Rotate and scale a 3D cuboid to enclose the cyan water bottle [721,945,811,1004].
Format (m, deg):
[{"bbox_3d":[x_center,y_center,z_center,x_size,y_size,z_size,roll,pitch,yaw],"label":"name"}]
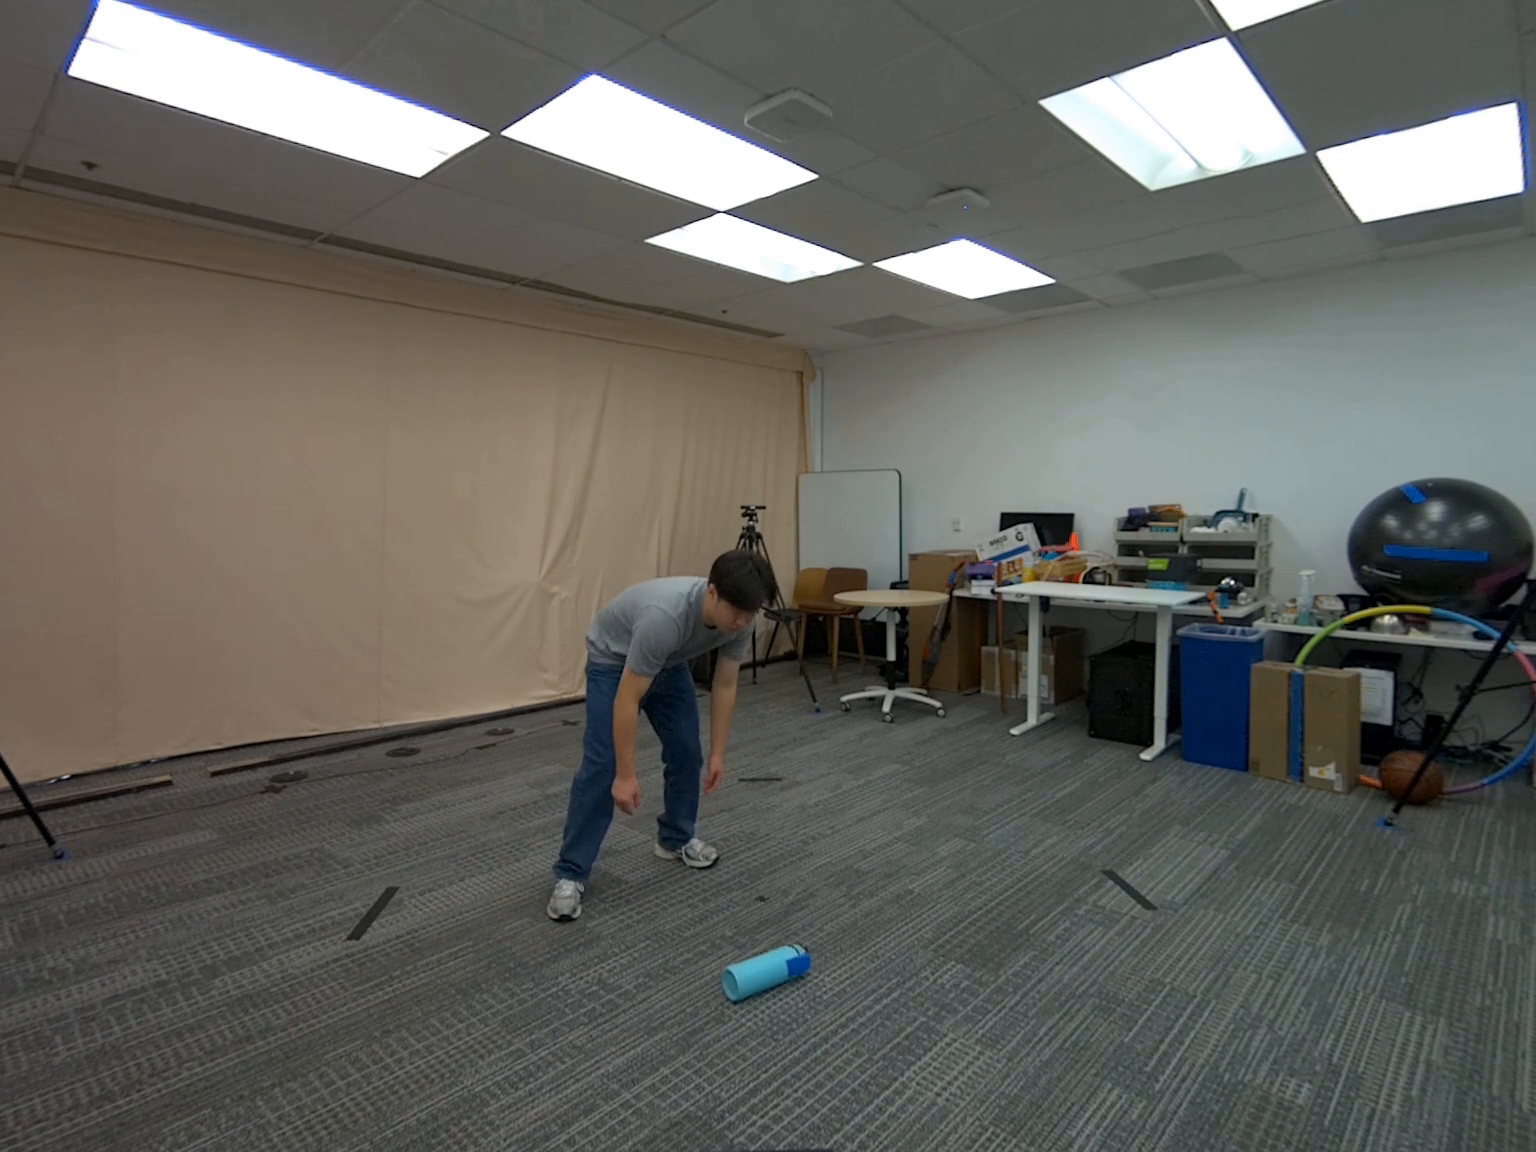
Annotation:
[{"bbox_3d":[0.007,1.143,2.443,0.275,0.092,0.095,-2,4,-35],"label":"cyan water bottle"}]
